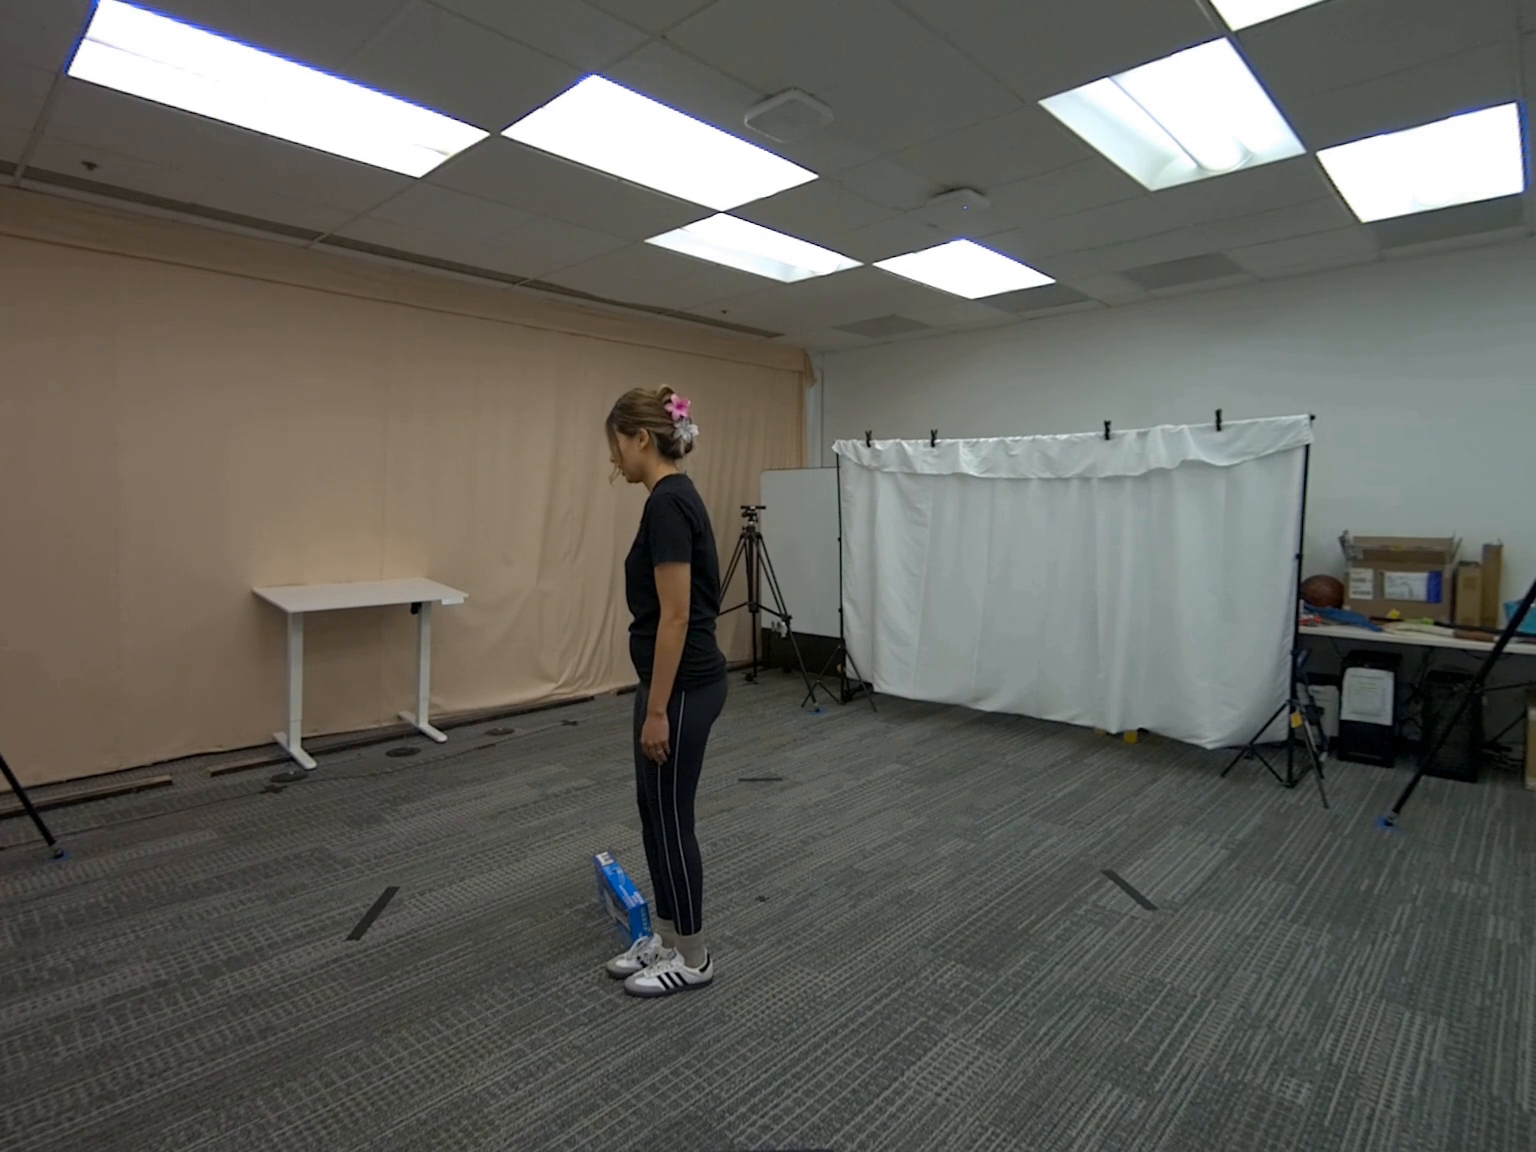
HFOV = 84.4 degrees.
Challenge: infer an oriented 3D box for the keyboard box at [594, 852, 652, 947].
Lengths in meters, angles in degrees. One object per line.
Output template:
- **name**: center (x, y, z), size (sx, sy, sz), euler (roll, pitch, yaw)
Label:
- **keyboard box**: center (-0.481, 1.077, 2.775), size (0.058, 0.175, 0.448), euler (-11, 9, -25)
